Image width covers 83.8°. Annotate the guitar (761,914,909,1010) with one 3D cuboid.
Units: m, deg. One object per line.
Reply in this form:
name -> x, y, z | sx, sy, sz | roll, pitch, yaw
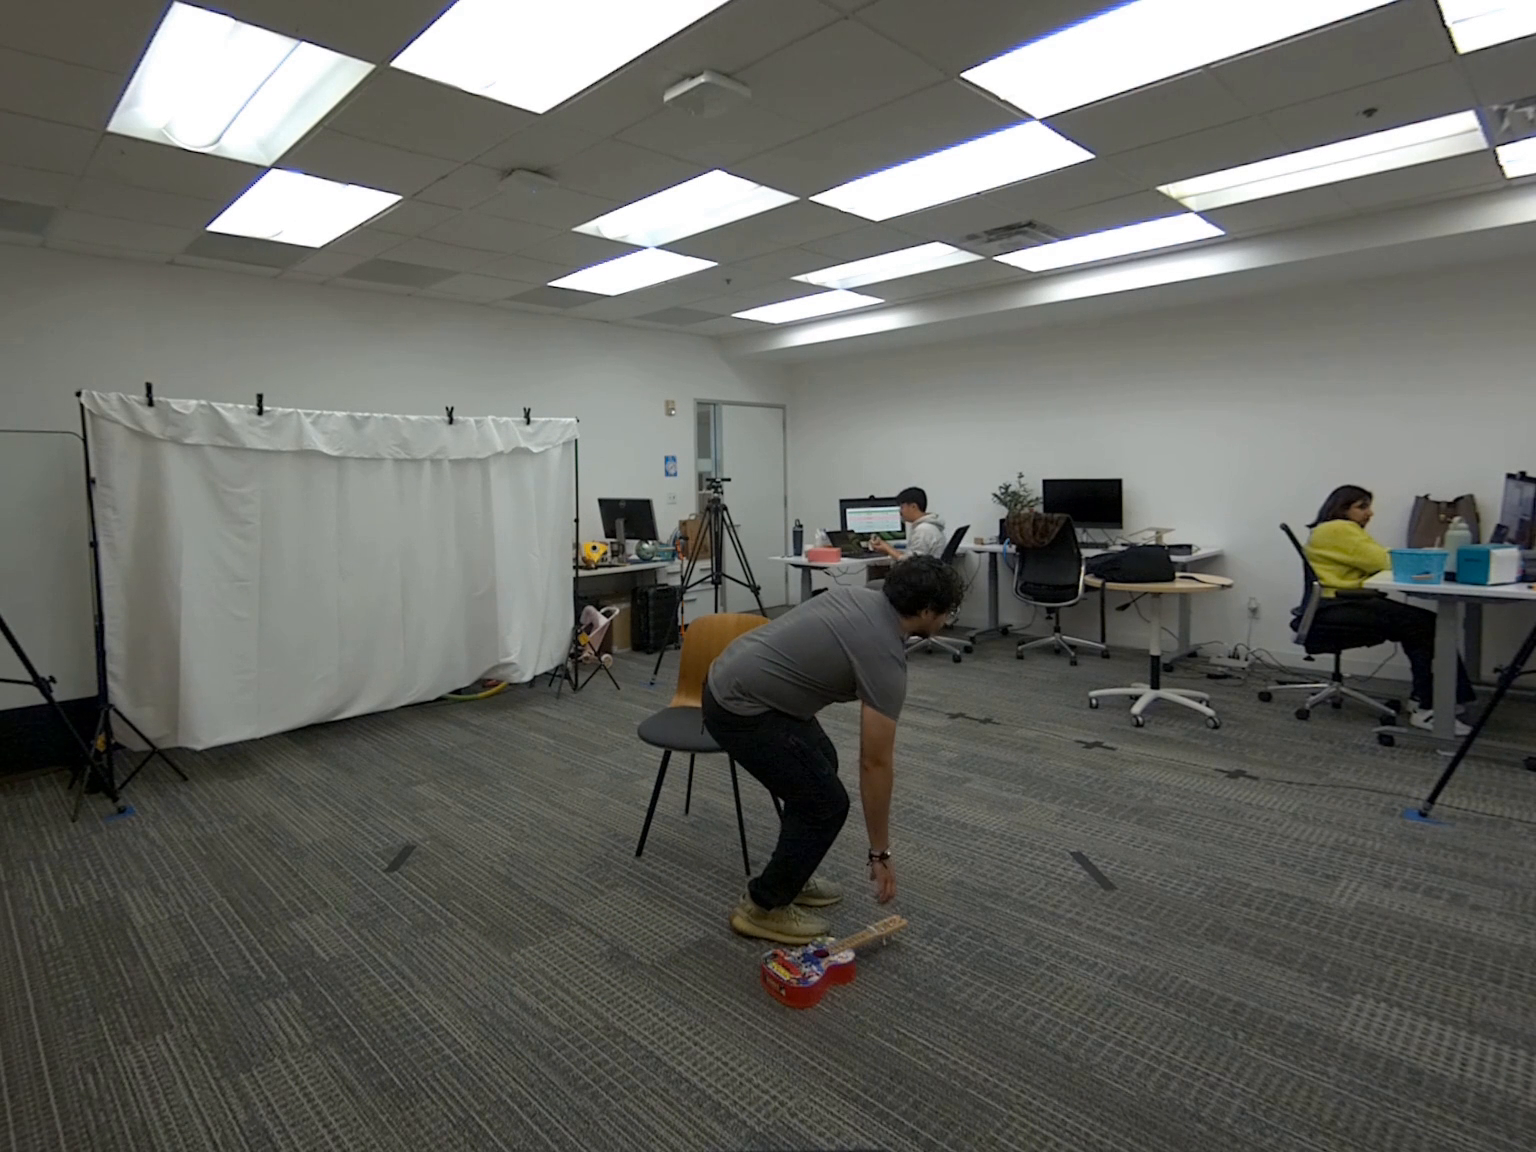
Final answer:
guitar -> 0.227, 1.088, 2.418 | 0.487, 0.070, 0.198 | -4, 6, -25
